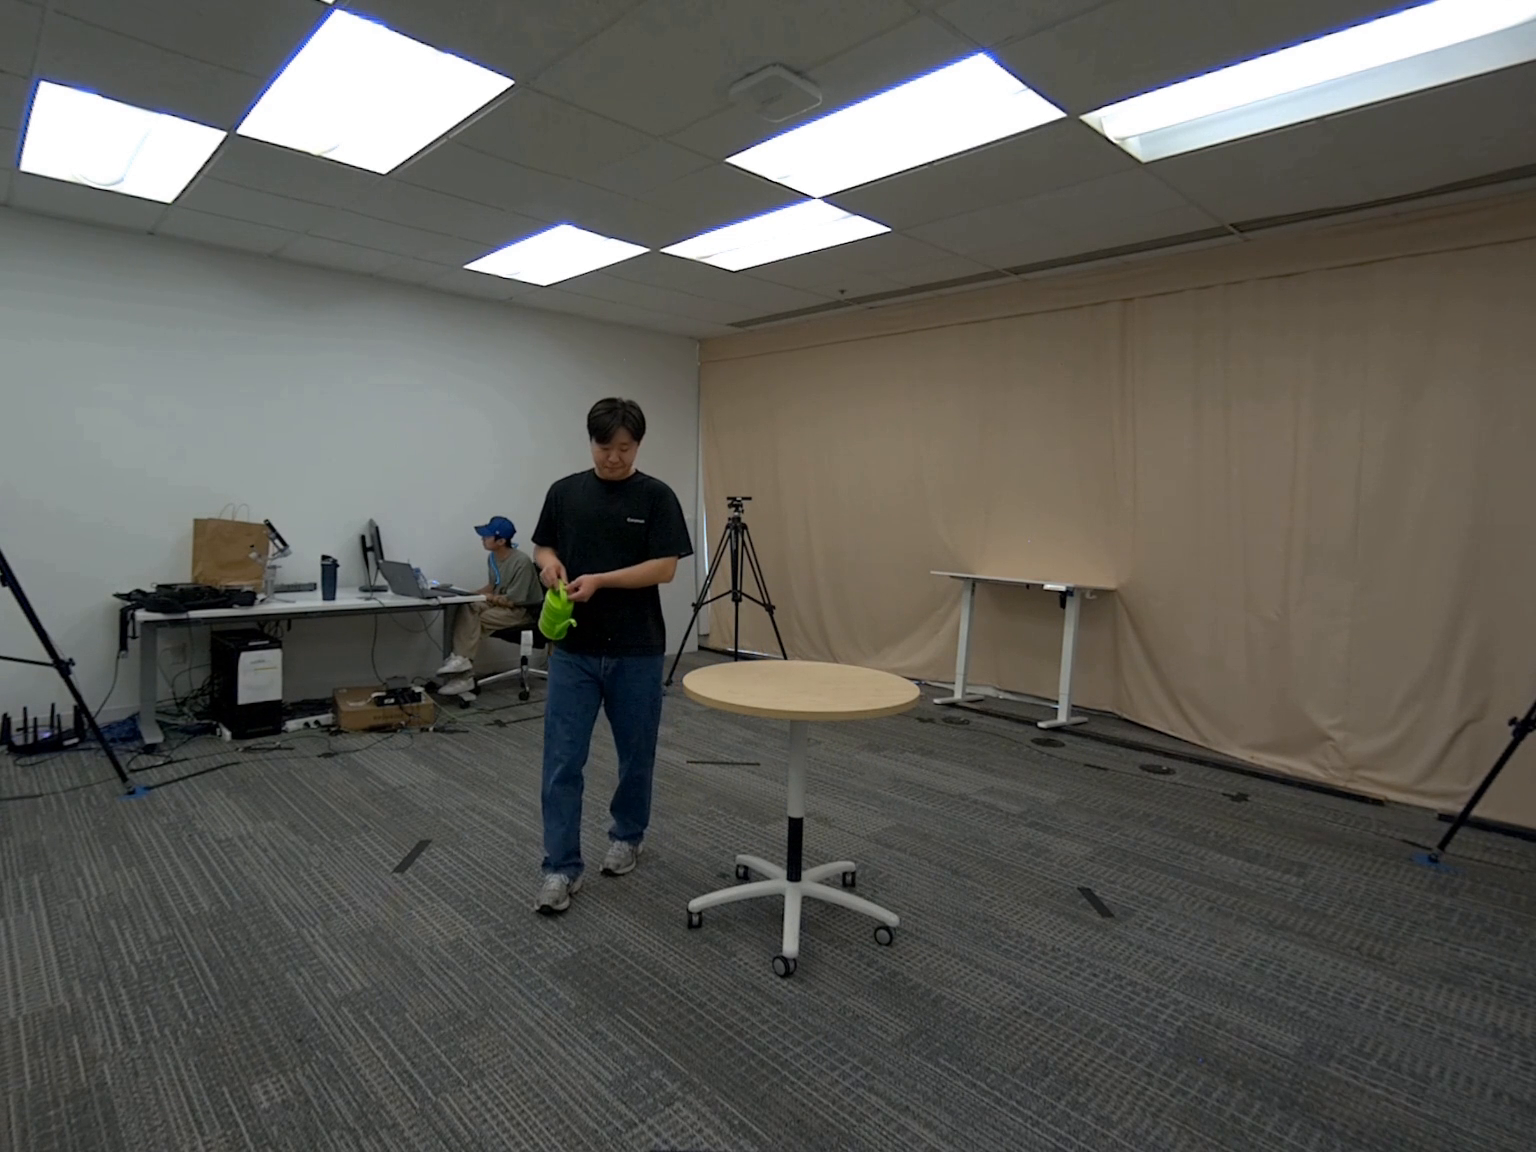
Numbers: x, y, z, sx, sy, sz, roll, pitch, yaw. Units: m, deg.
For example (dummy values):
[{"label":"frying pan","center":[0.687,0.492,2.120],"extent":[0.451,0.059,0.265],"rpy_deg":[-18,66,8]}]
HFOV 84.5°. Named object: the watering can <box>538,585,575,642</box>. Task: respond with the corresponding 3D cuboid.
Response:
[{"label":"watering can","center":[-0.713,0.139,2.801],"extent":[0.097,0.175,0.284],"rpy_deg":[13,30,-14]}]
